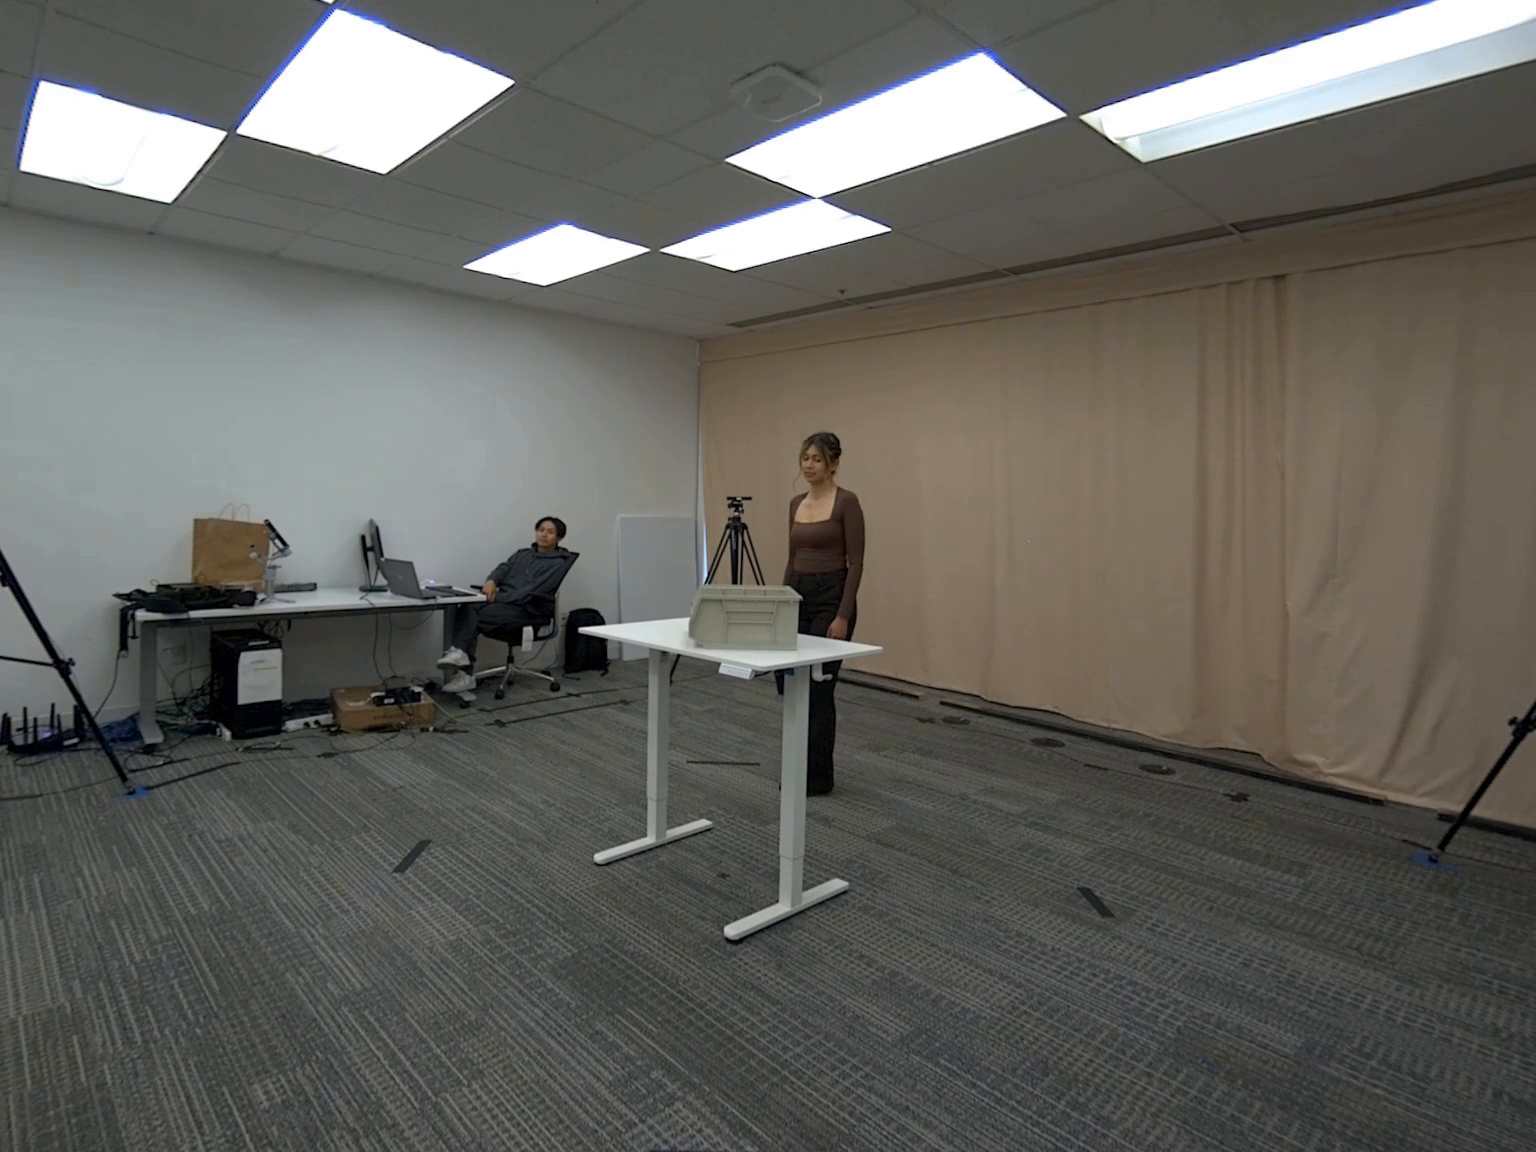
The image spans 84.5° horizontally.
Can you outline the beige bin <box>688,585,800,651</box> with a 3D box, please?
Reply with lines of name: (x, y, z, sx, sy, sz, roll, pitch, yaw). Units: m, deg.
beige bin: (-0.099, 0.148, 3.011, 0.376, 0.189, 0.424, 2, 2, -3)
